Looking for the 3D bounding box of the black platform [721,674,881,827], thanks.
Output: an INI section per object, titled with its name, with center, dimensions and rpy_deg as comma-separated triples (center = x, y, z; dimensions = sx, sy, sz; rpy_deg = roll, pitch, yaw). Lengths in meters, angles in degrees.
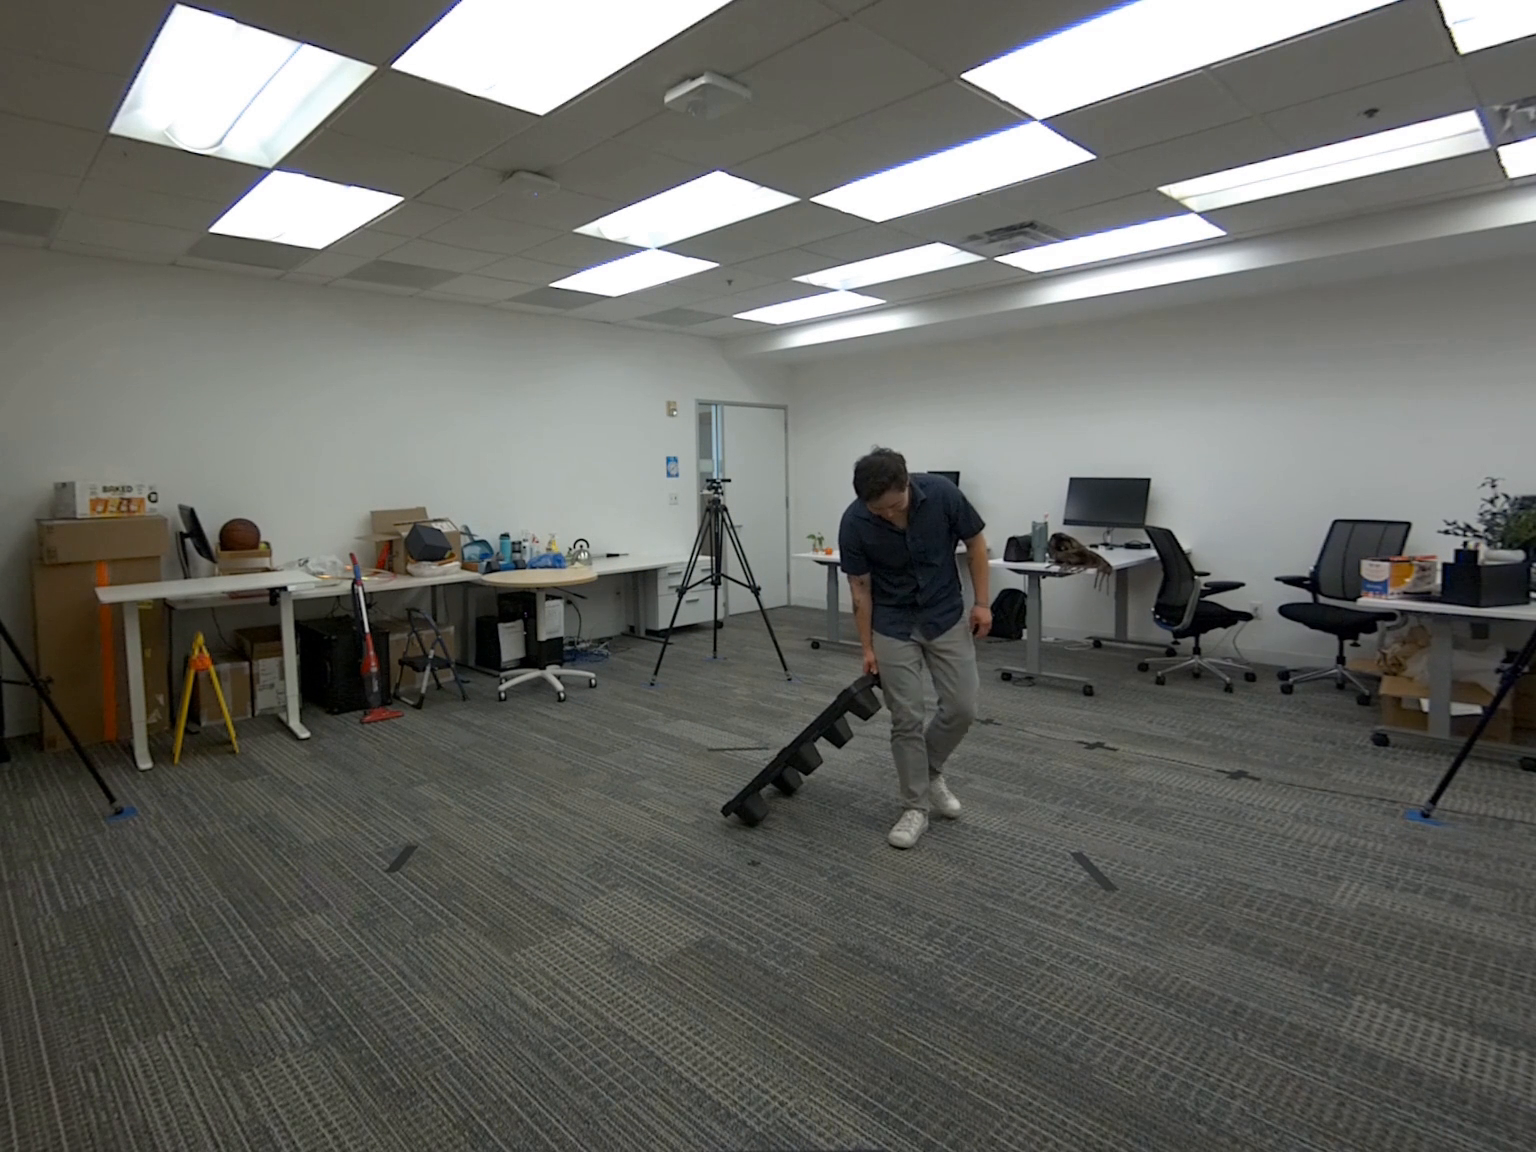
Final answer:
[black platform]
center = 0.223, 0.690, 3.522
dimensions = 0.804, 0.146, 0.594
rpy_deg = -48, -14, 21
